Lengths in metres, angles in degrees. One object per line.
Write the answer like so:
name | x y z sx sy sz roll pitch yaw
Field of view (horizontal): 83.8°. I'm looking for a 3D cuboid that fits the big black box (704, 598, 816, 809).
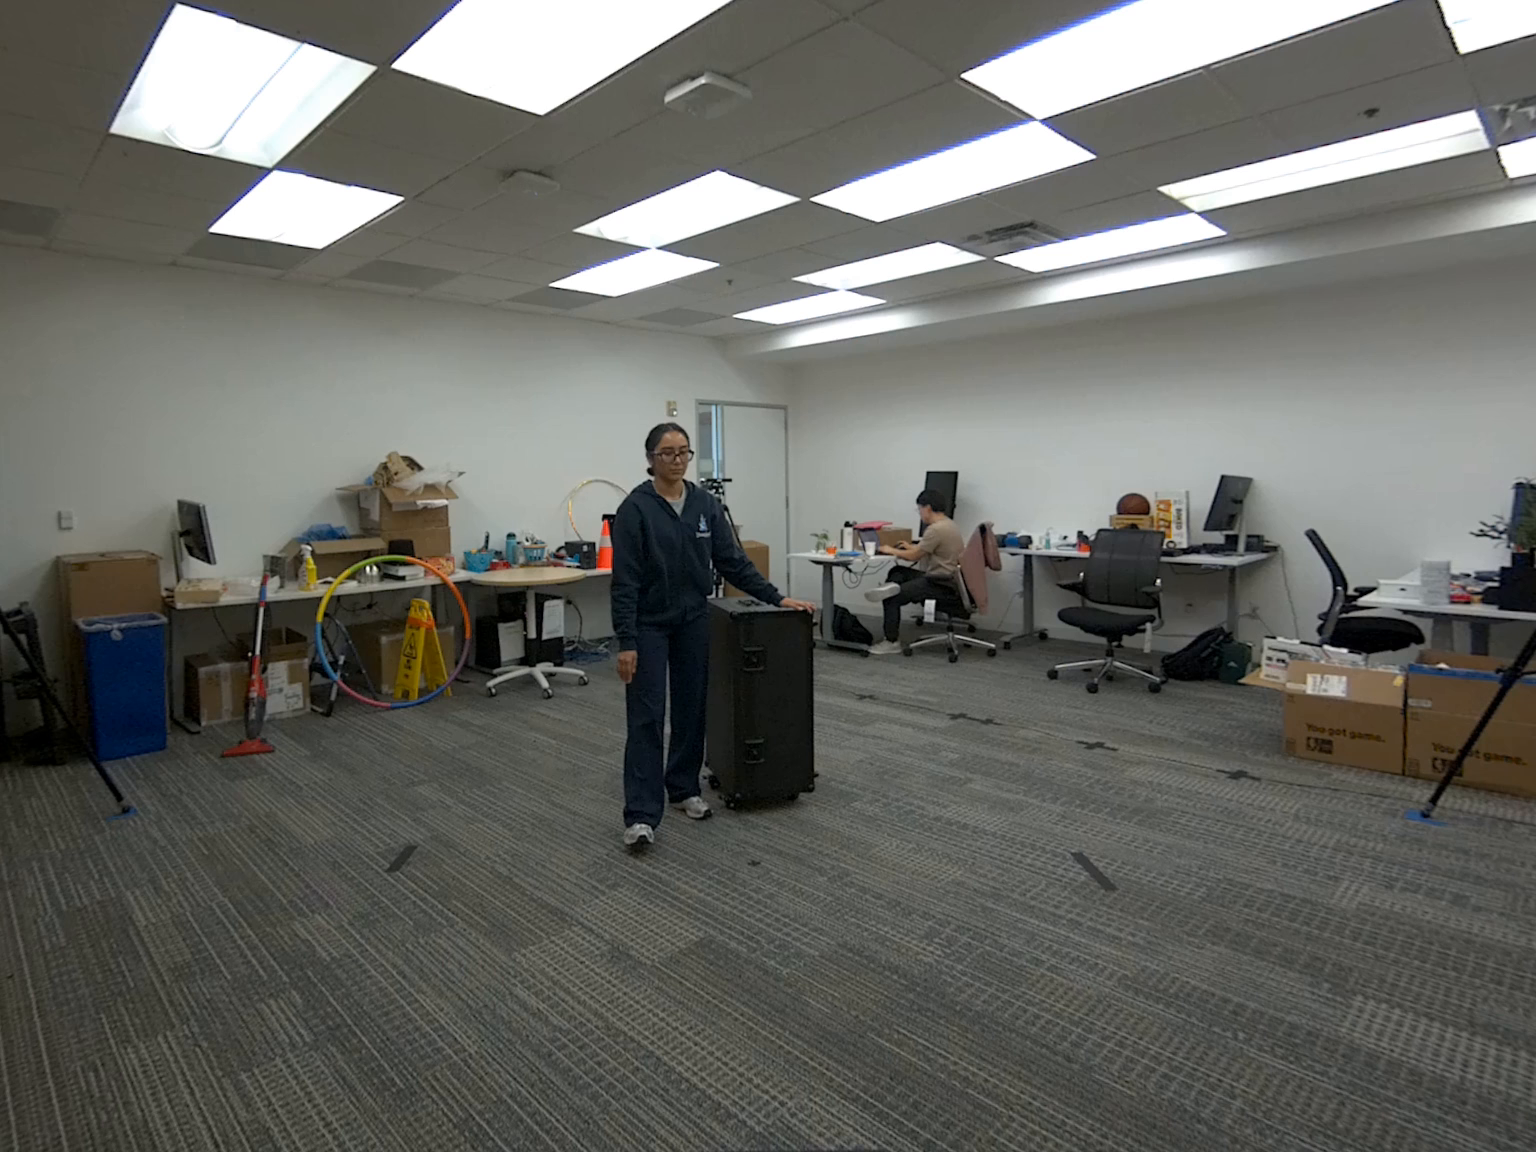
big black box | -0.042 0.543 3.784 0.390 0.859 0.531 -1 4 -17
